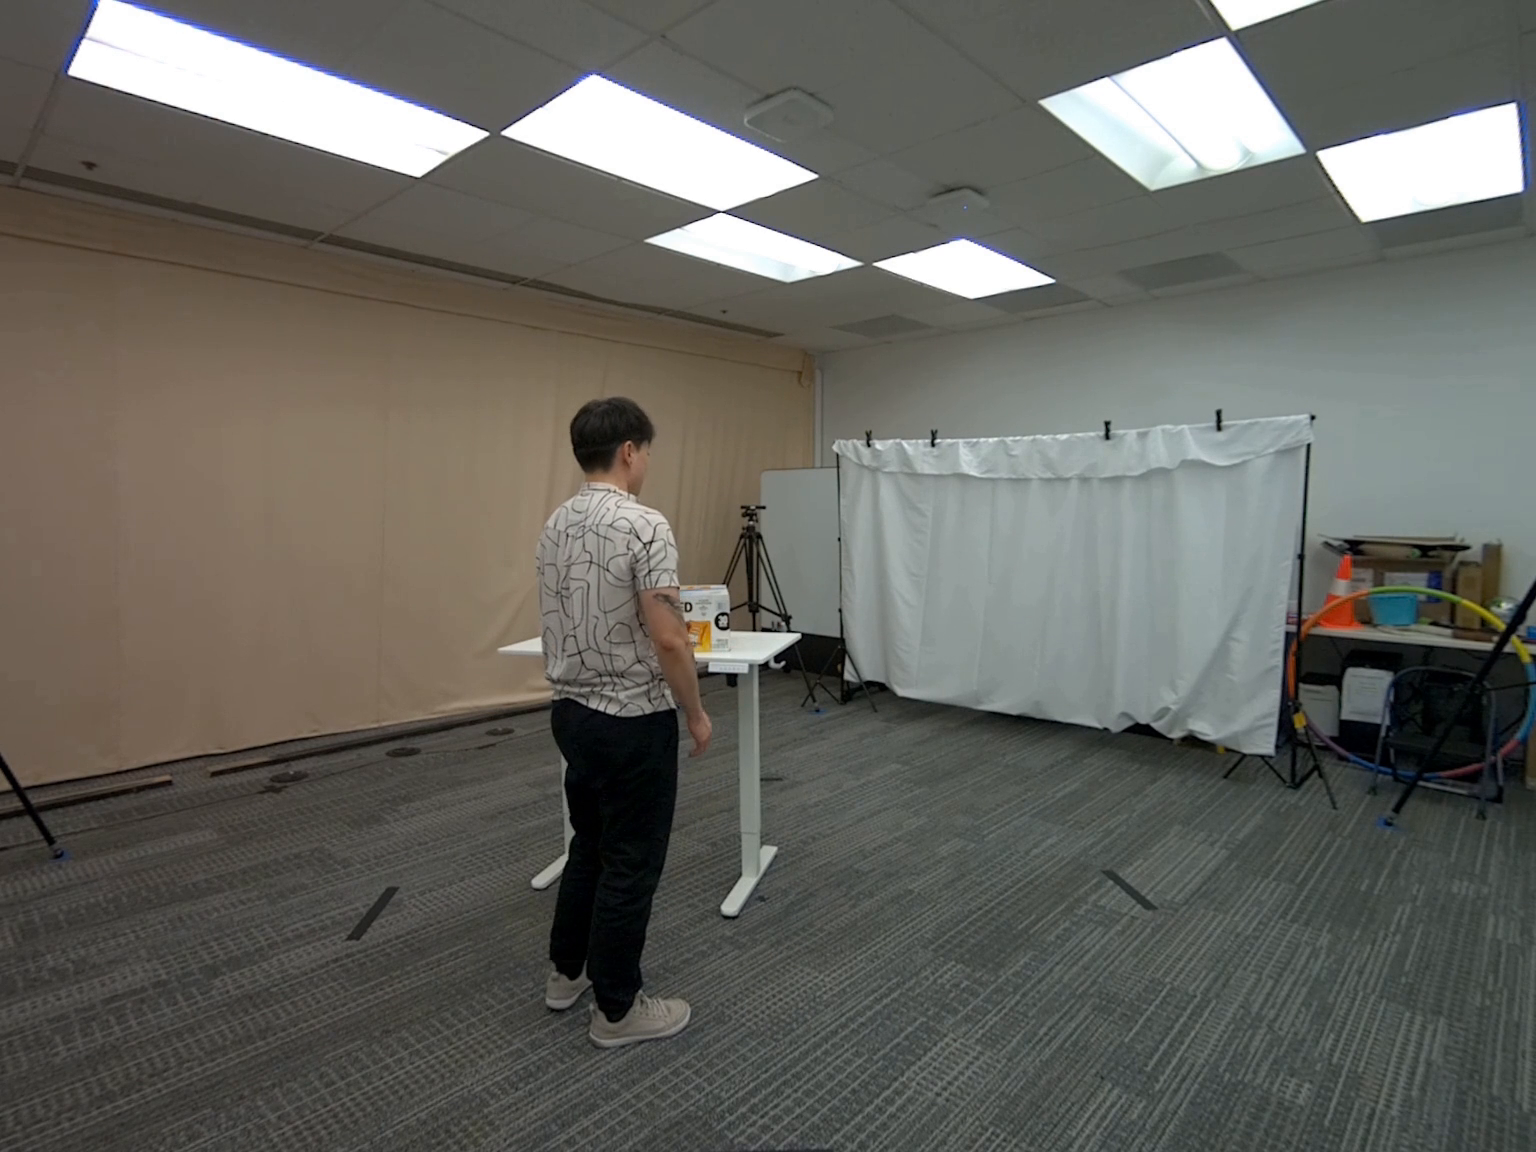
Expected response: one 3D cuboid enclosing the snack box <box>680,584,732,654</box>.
[{"bbox_3d":[-0.346,0.151,3.077,0.404,0.205,0.342,-2,4,-2],"label":"snack box"}]
